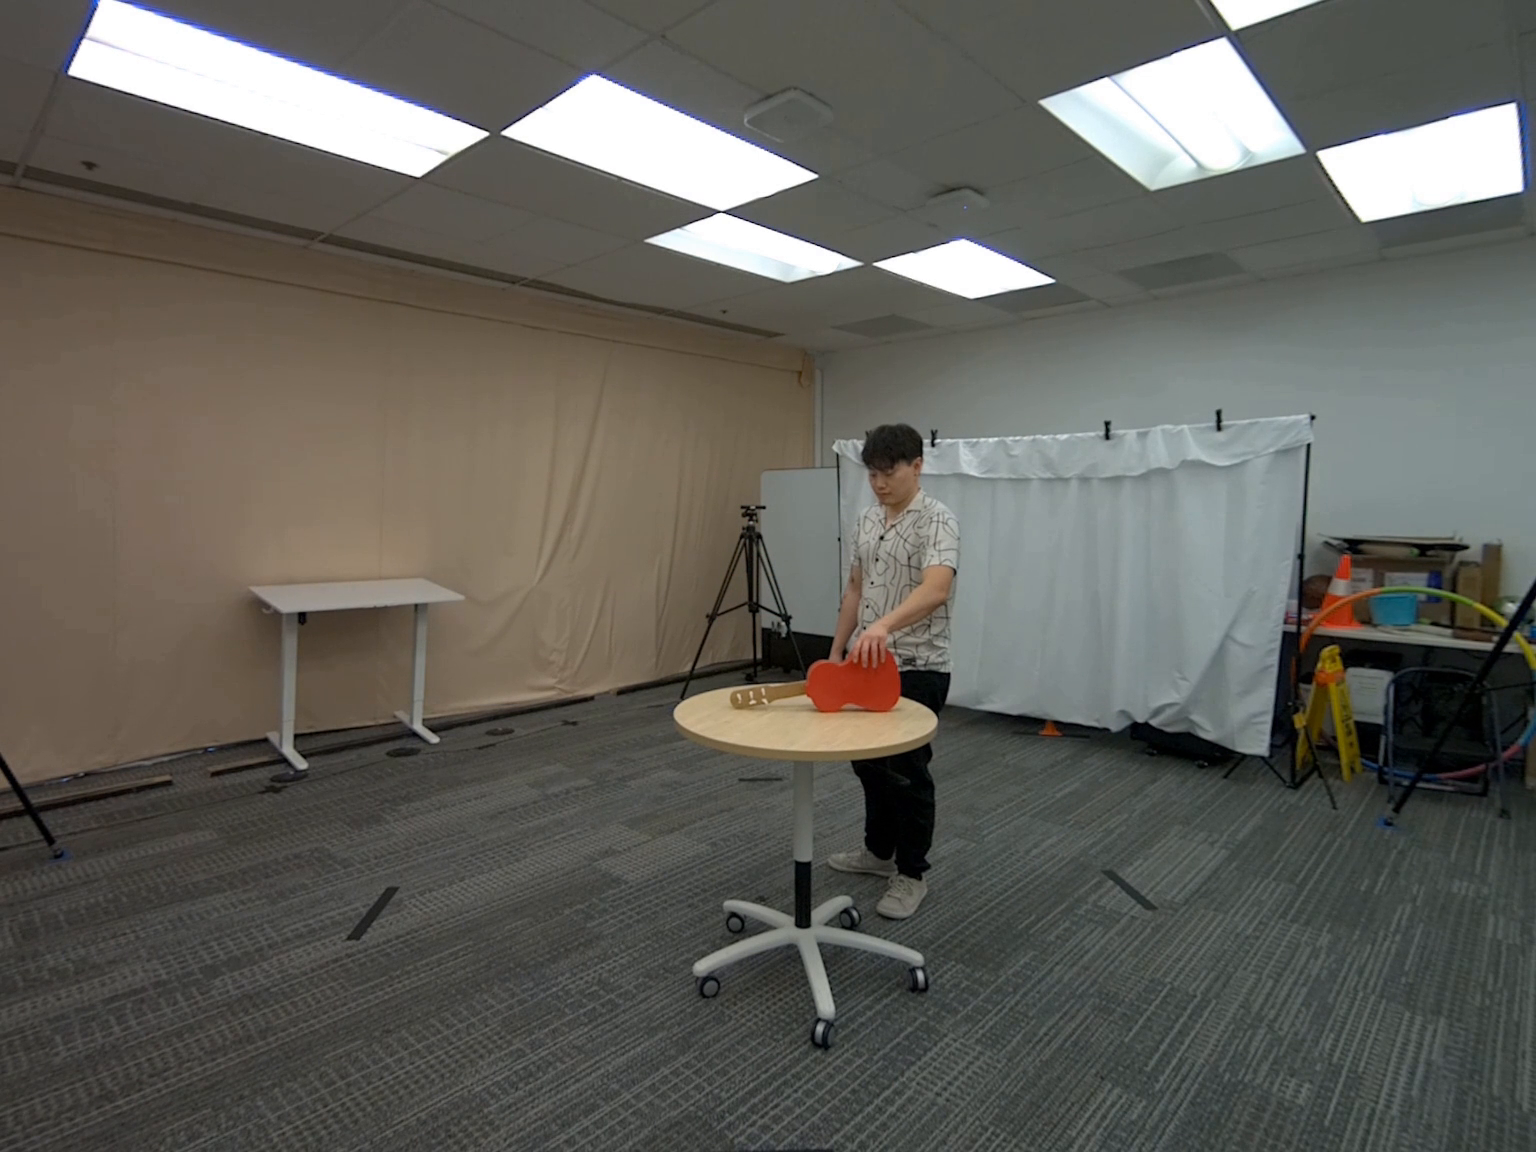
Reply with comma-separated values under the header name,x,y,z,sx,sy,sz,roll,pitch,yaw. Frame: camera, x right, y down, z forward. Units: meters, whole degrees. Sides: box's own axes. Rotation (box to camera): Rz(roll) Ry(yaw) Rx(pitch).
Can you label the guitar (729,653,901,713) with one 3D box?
name,x,y,z,sx,sy,sz,roll,pitch,yaw
guitar,0.156,0.359,2.498,0.498,0.192,0.071,-18,3,1
